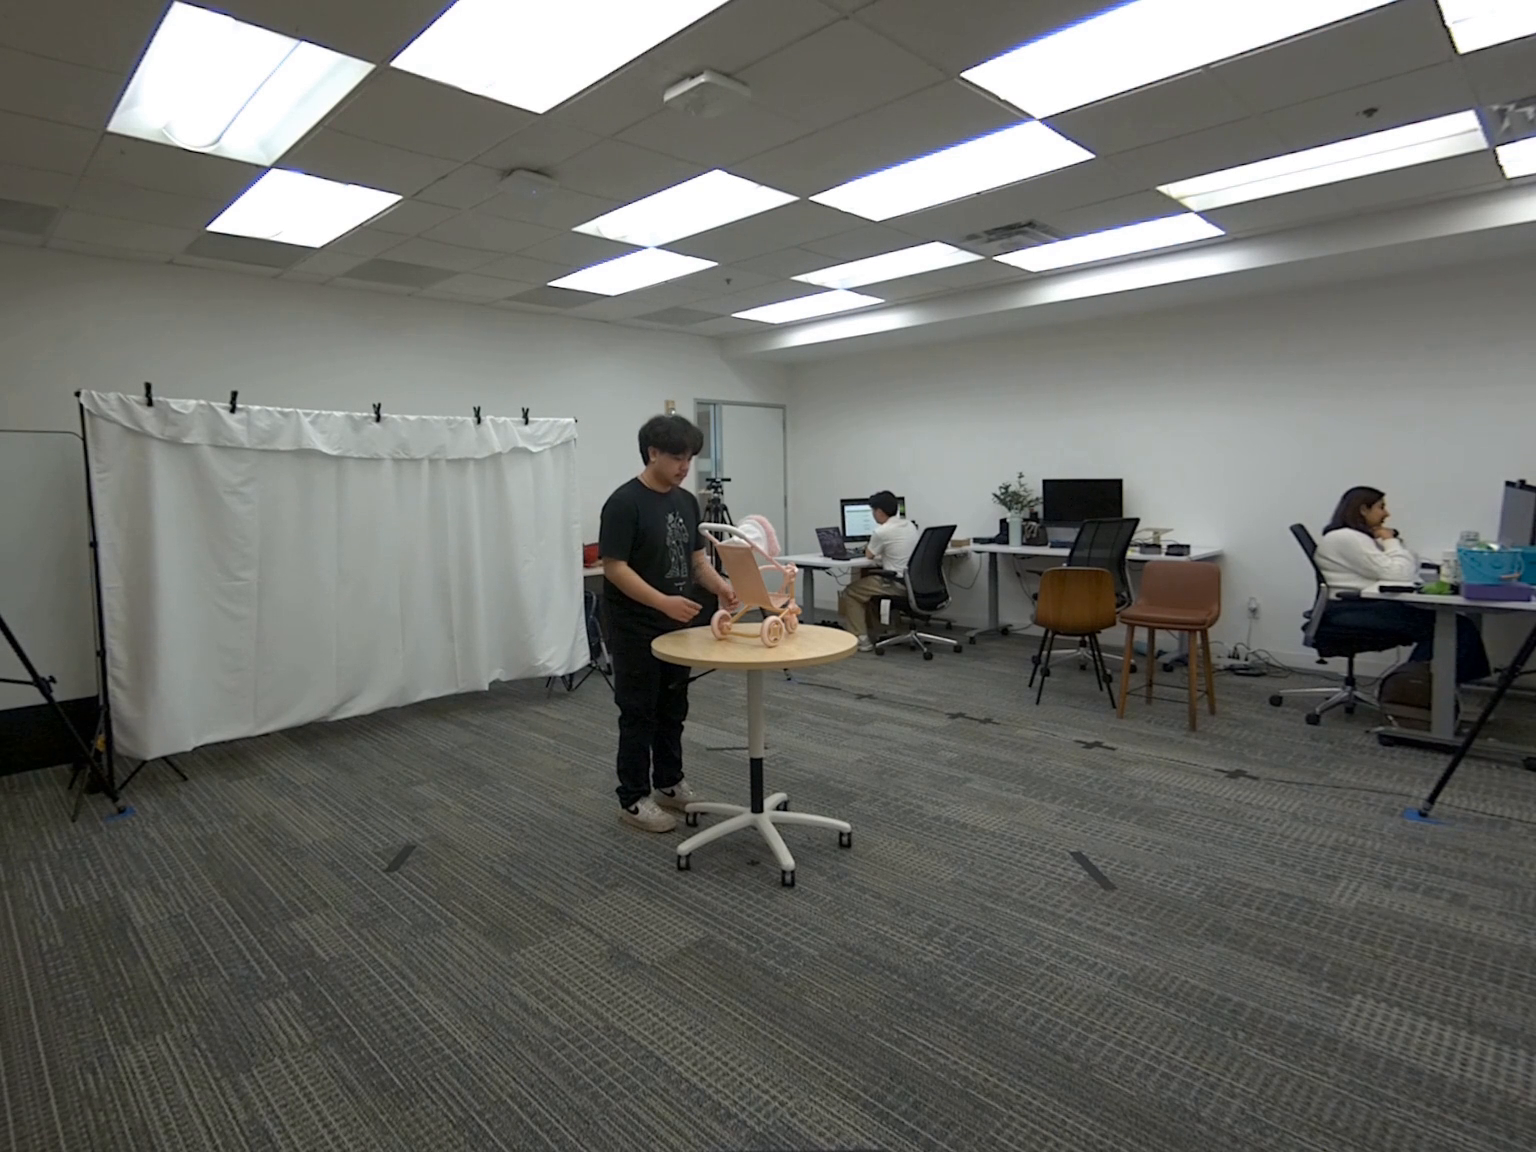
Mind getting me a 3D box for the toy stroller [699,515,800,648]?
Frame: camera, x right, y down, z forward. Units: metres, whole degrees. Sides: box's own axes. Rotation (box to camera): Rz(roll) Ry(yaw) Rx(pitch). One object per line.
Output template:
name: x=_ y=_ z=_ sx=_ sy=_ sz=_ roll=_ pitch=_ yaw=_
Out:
toy stroller: x=-0.035 y=0.014 z=3.167 sx=0.336 sy=0.527 sz=0.290 roll=-24 pitch=18 yaw=-40
